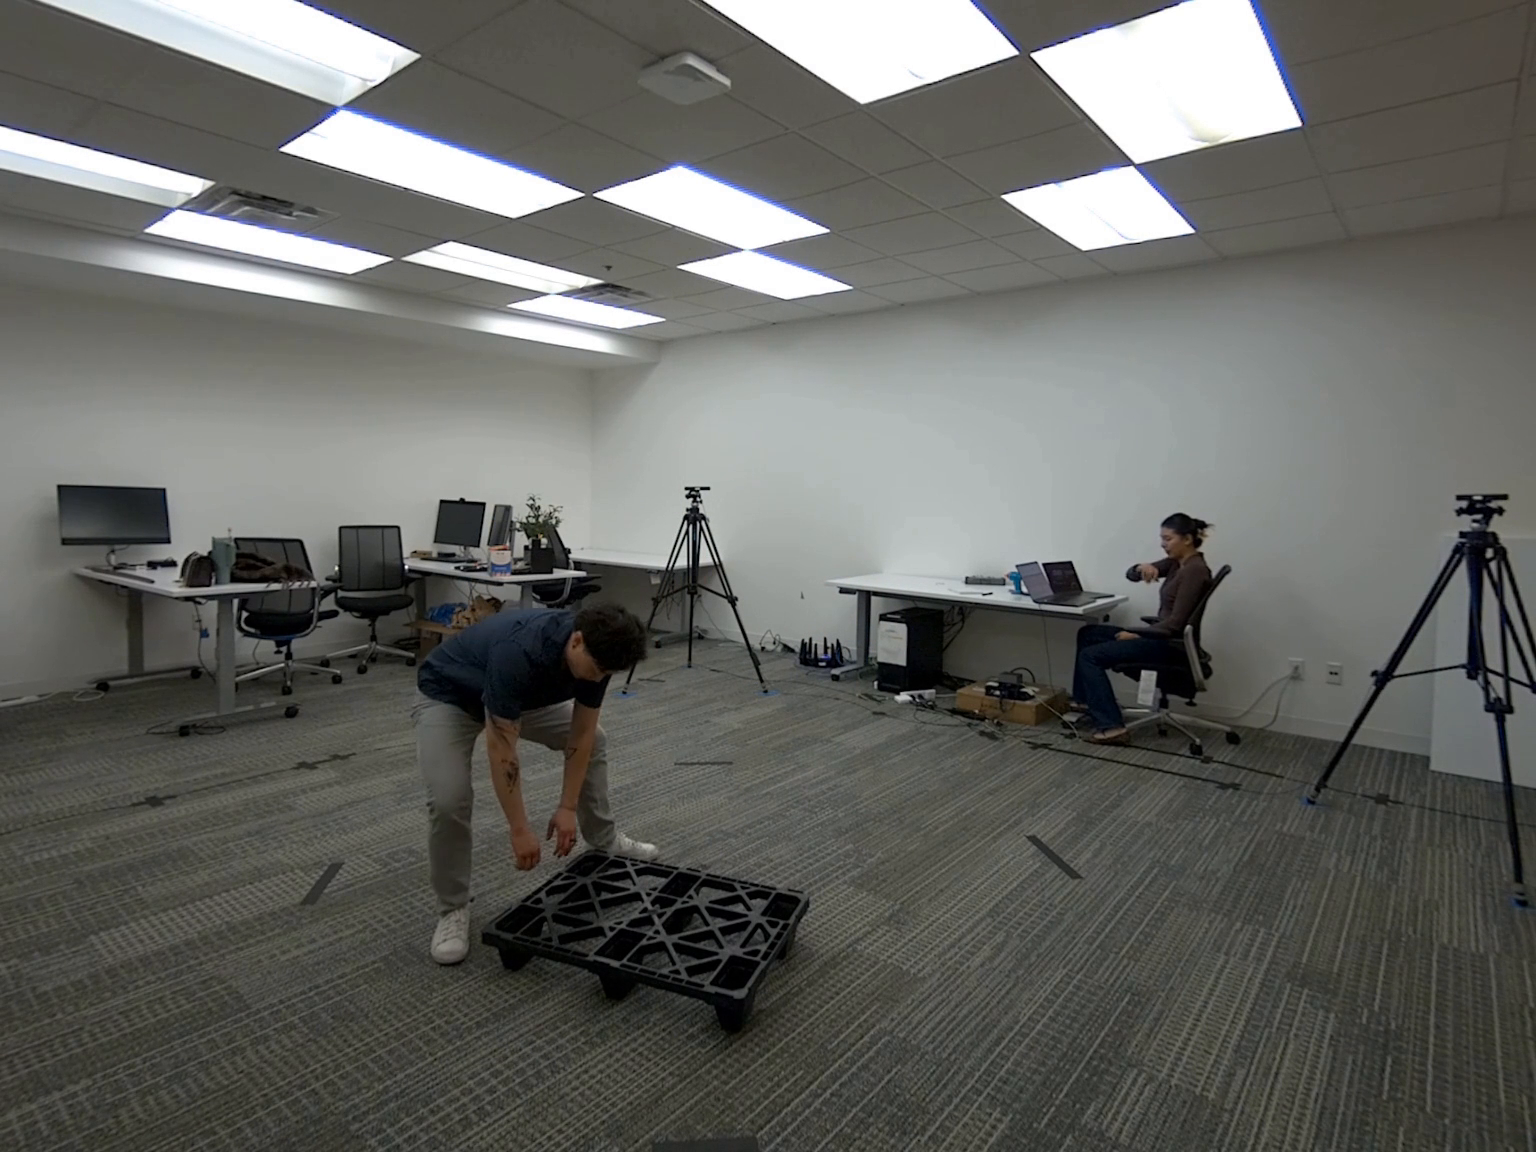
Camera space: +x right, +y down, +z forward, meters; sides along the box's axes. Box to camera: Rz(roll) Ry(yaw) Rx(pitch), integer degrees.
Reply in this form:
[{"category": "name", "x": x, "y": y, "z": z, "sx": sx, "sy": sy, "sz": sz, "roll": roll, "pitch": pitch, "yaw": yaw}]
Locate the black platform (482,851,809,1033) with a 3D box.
[{"category": "black platform", "x": -0.351, "y": 1.052, "z": 2.526, "sx": 0.824, "sy": 0.143, "sz": 0.594, "roll": 3, "pitch": 6, "yaw": 21}]
